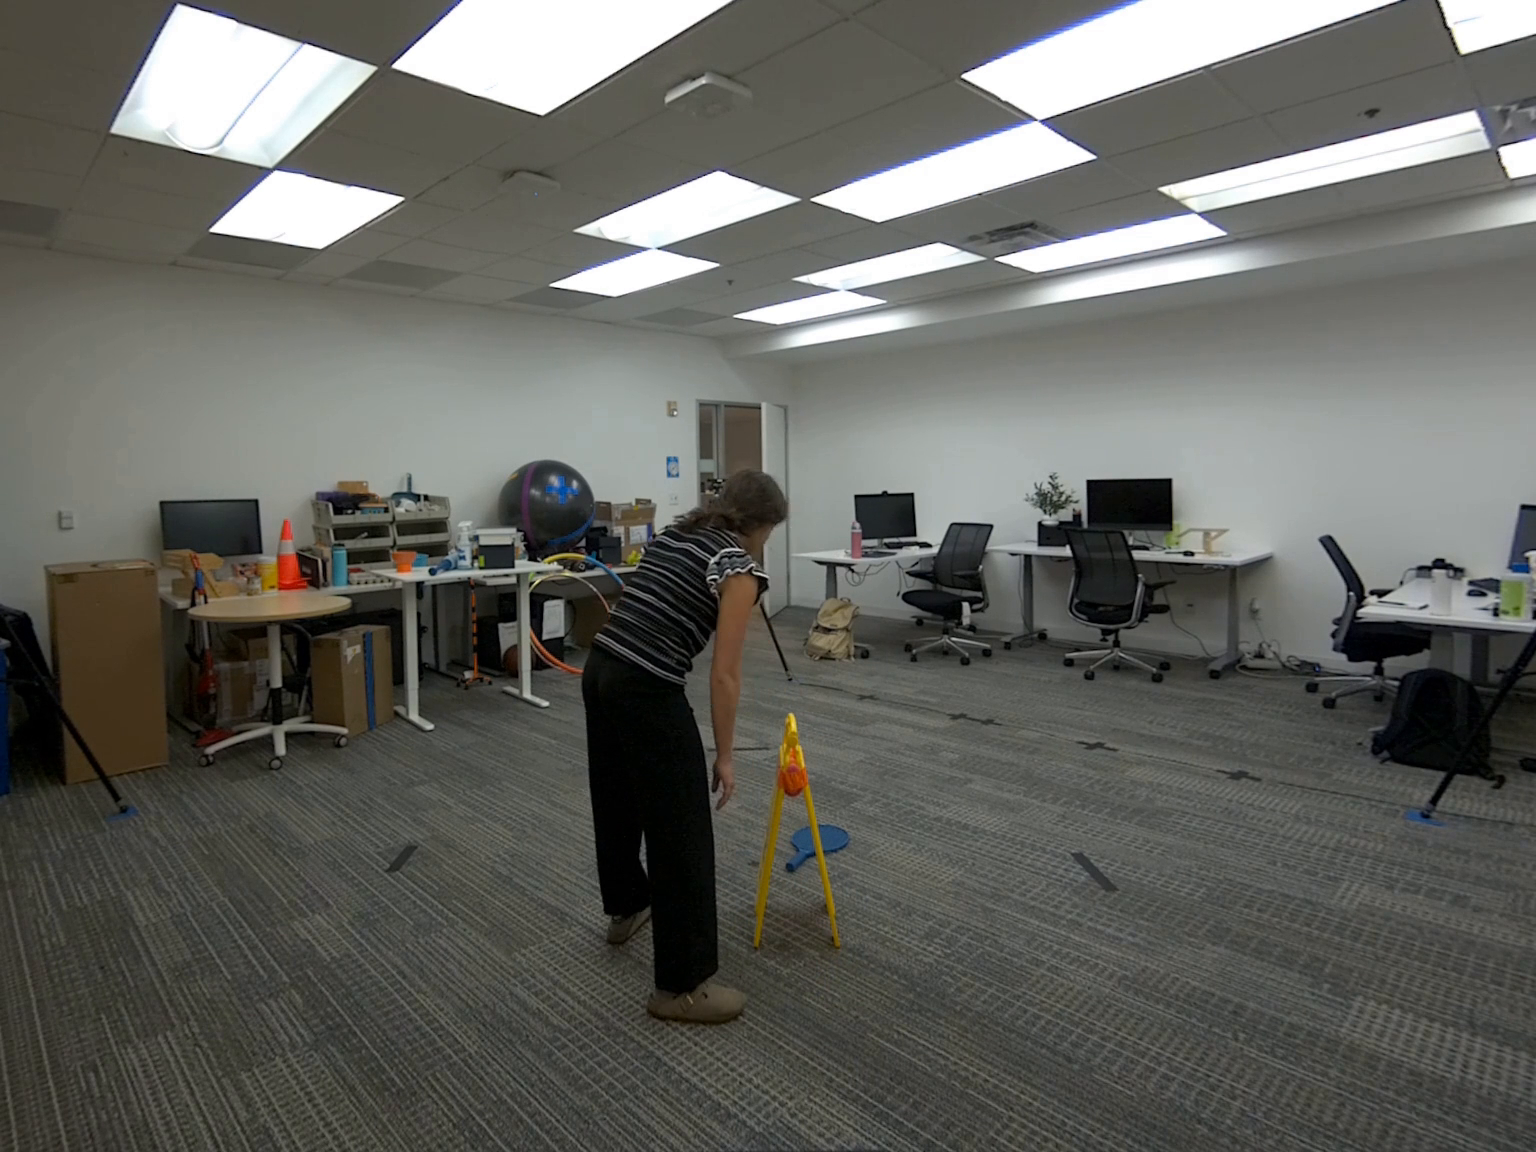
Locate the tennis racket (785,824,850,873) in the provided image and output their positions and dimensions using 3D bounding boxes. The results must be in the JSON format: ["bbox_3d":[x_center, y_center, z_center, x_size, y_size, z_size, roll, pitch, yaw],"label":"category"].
[{"bbox_3d":[0.171,1.015,3.220,0.218,0.031,0.425,2,5,23],"label":"tennis racket"}]
